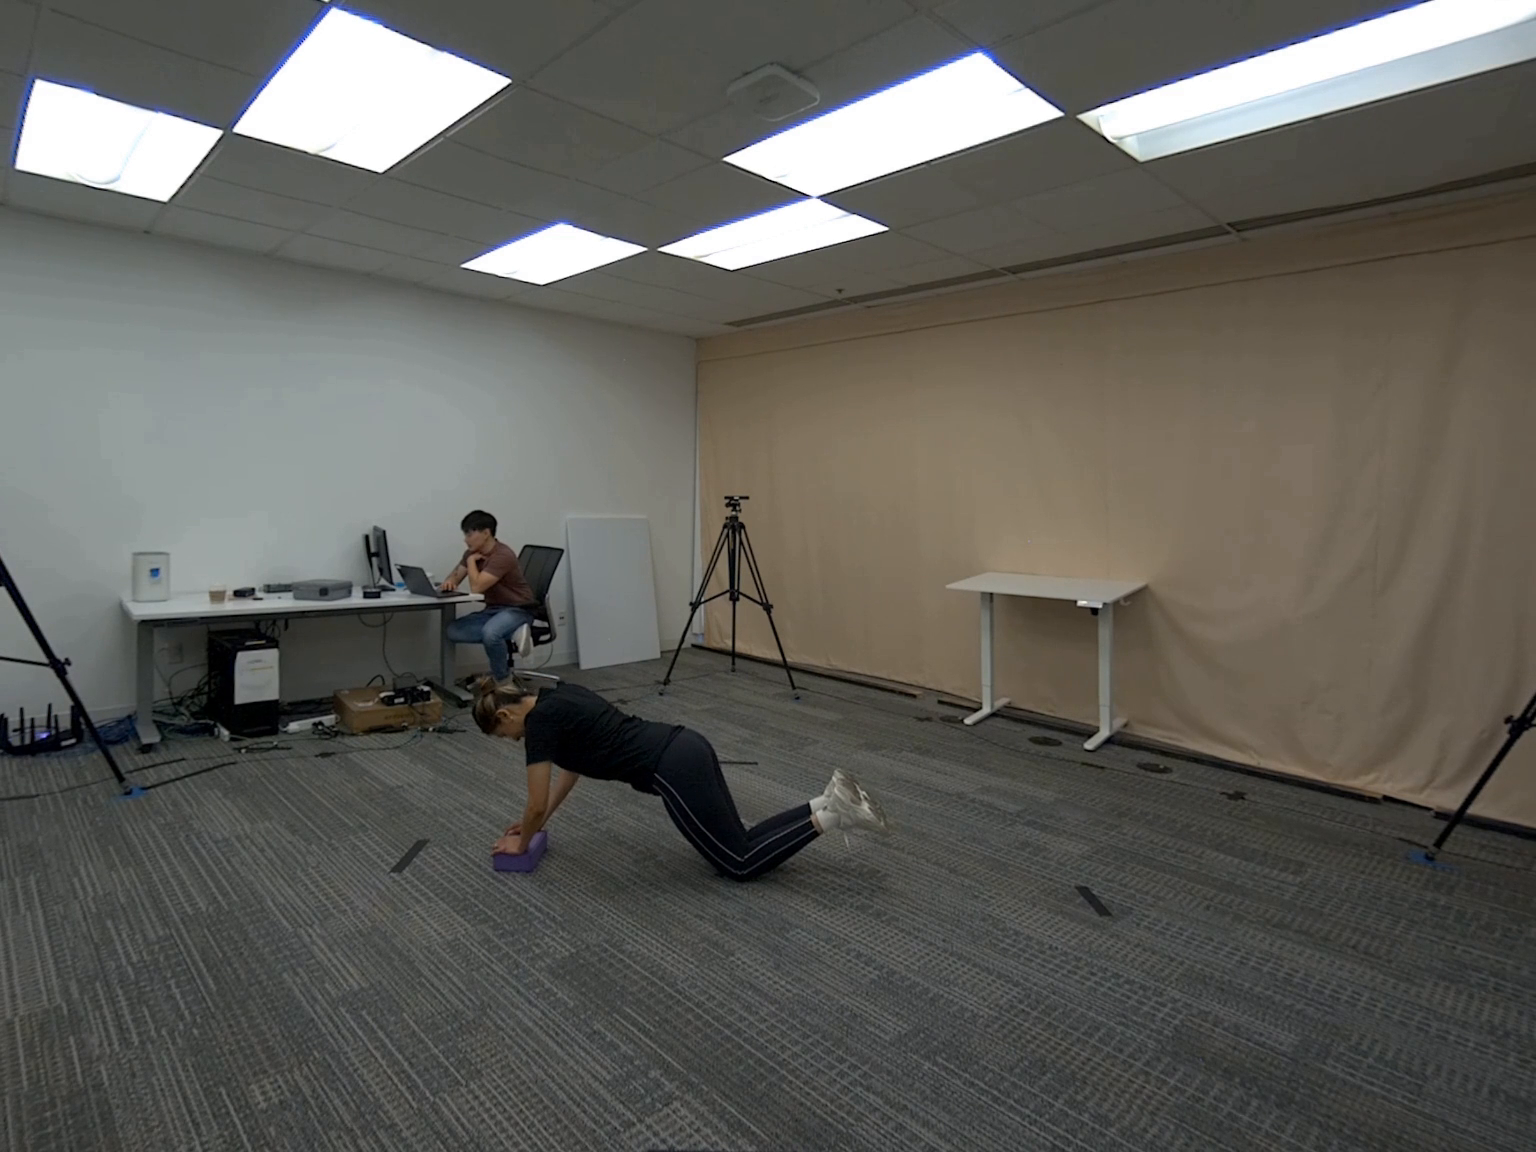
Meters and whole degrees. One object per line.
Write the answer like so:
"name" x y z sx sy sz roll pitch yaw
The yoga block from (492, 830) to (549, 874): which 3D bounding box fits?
"yoga block" -0.937 1.028 3.200 0.149 0.076 0.229 -3 4 1
